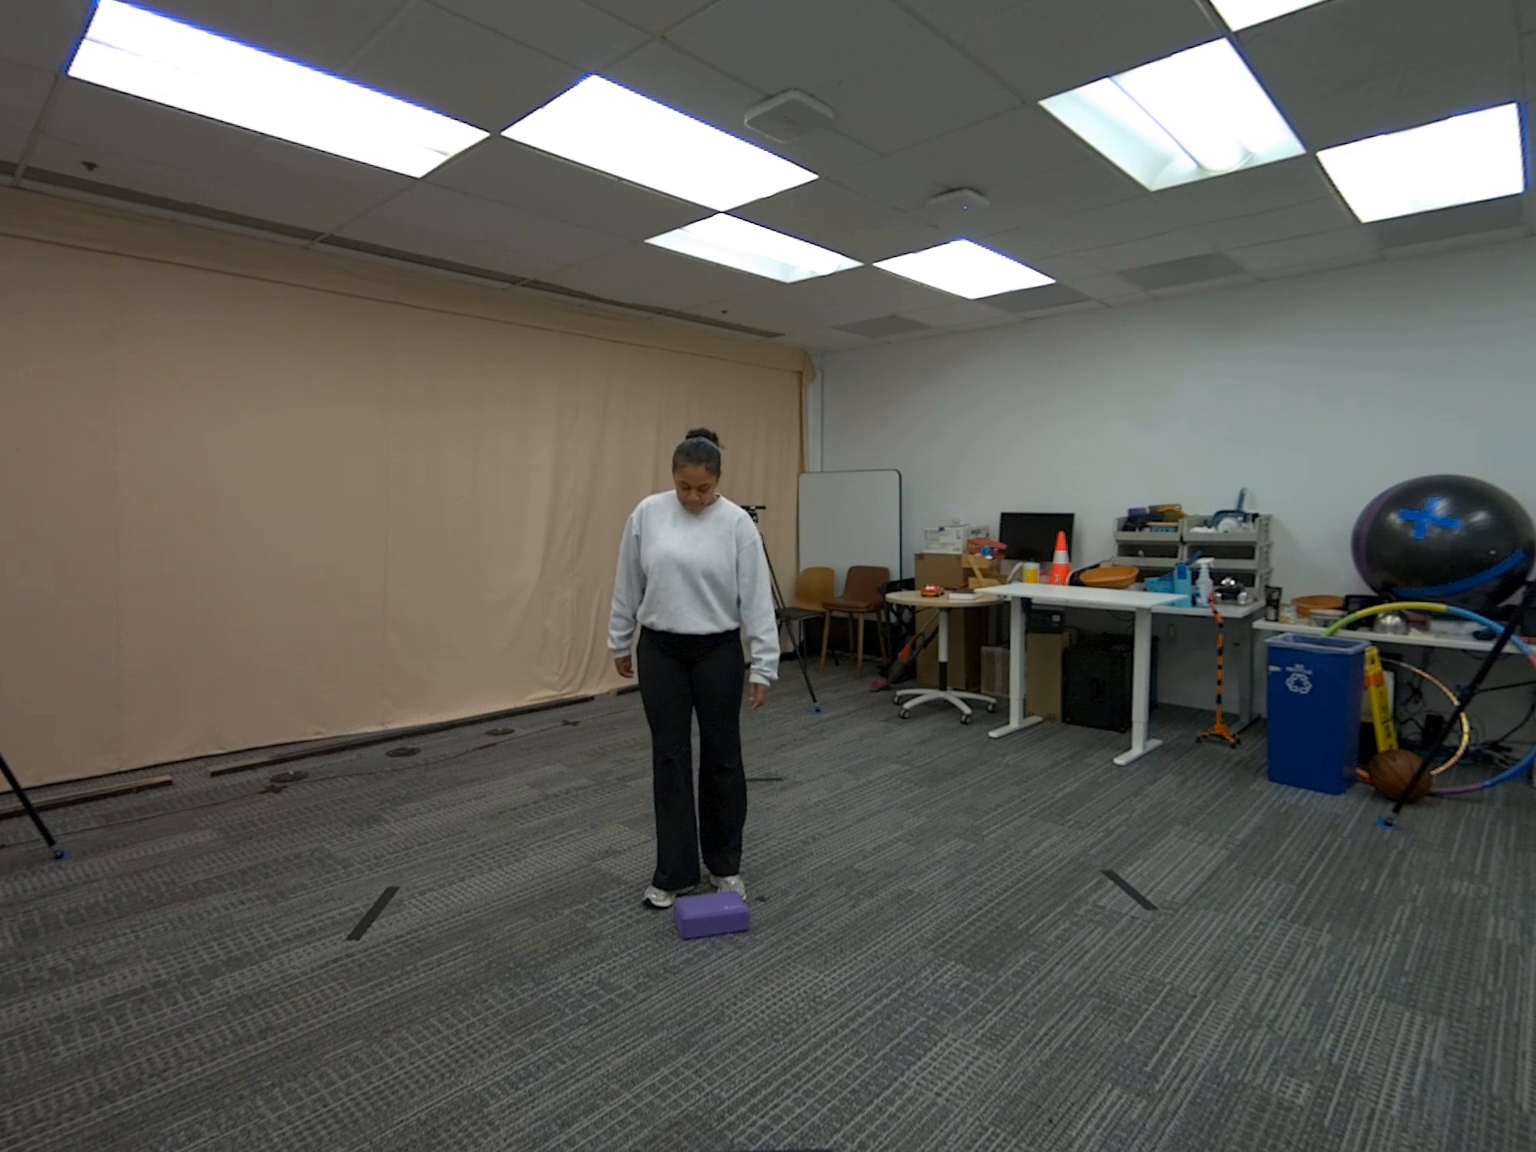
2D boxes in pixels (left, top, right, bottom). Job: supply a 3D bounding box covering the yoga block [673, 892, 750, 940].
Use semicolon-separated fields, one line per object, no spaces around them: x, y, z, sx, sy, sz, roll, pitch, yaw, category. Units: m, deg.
-0.189;1.116;2.788;0.225;0.076;0.152;-1;4;-17;yoga block
